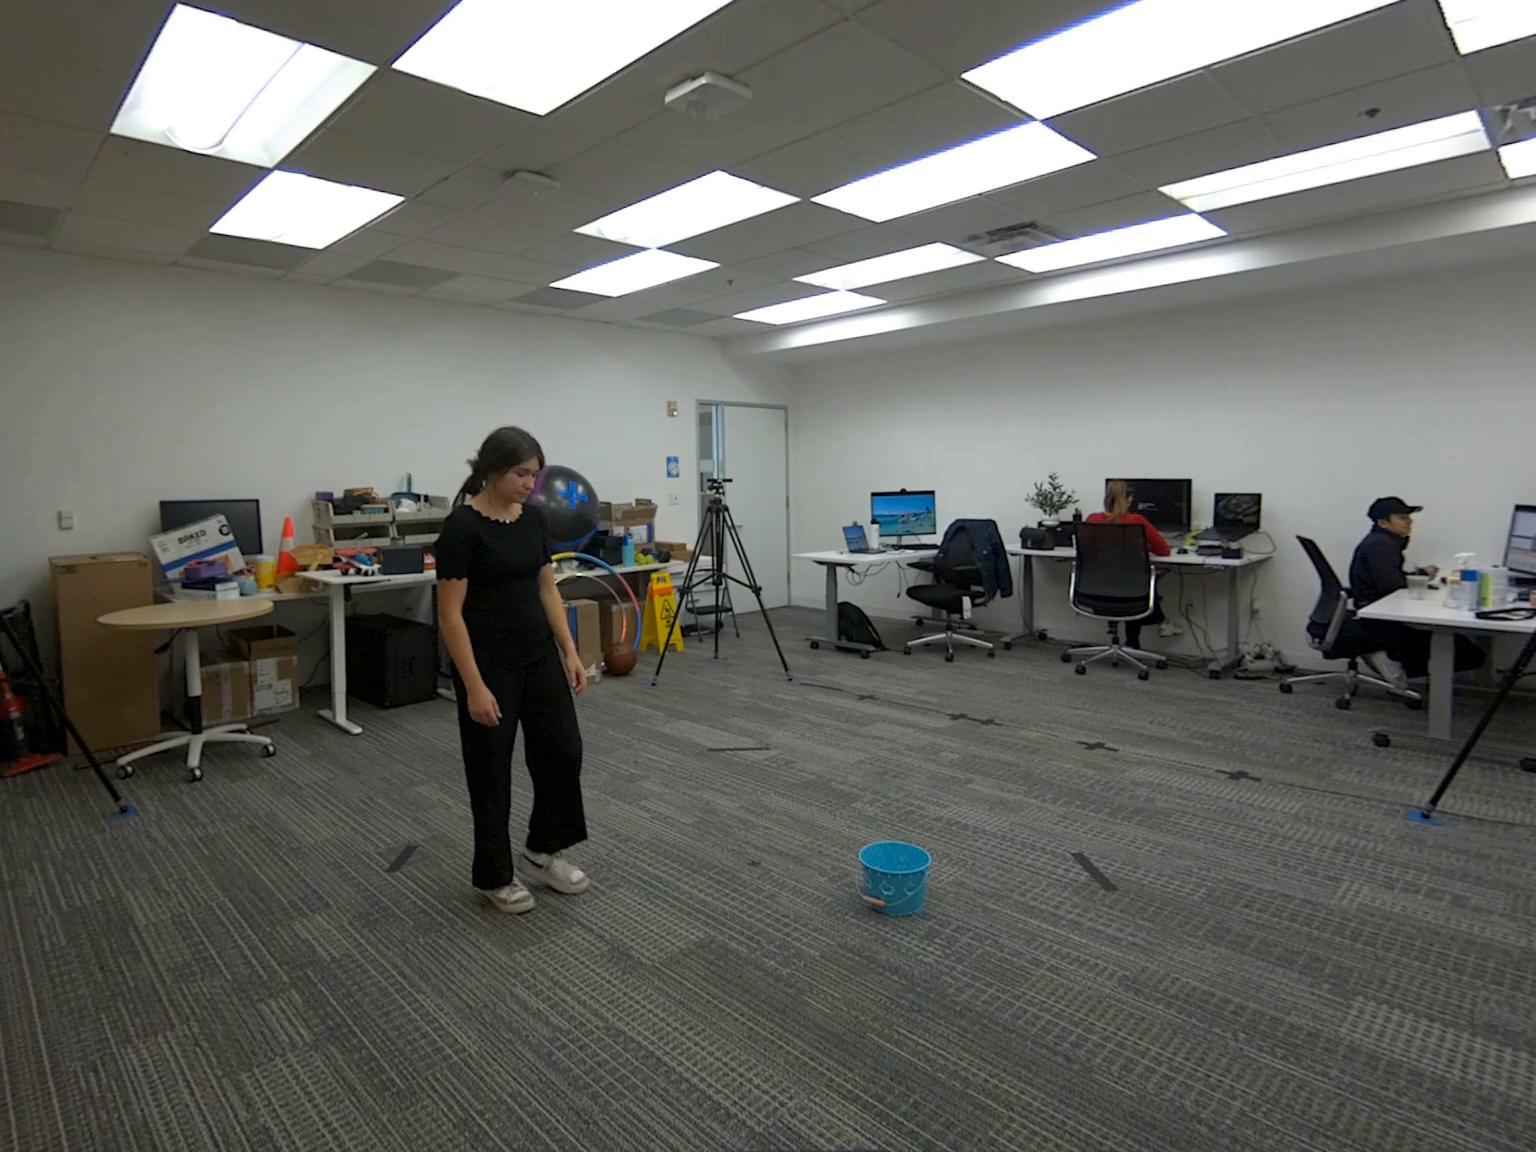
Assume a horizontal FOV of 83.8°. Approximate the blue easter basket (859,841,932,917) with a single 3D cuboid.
[{"bbox_3d":[0.412,0.990,2.806,0.243,0.155,0.245,0,5,-2],"label":"blue easter basket"}]
